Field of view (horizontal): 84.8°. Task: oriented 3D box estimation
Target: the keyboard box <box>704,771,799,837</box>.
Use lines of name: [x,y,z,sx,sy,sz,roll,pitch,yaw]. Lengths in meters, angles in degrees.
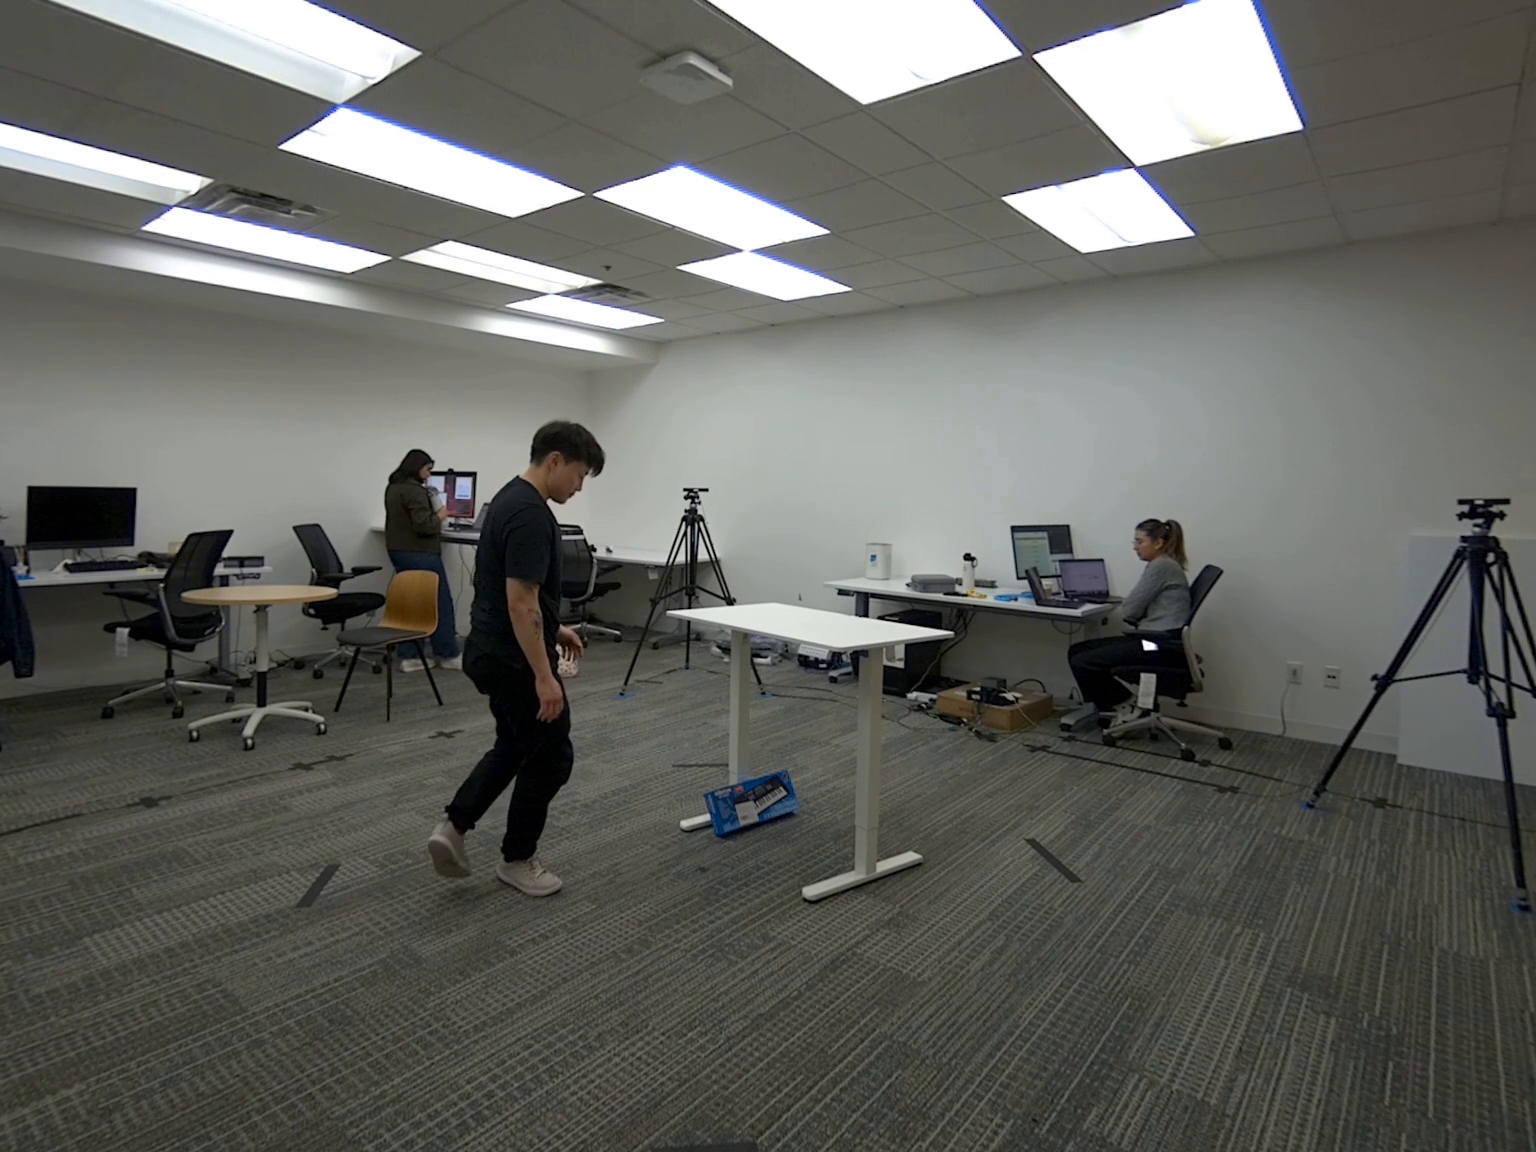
keyboard box: [-0.070,0.945,3.555,0.424,0.180,0.059,-4,-23,-41]
